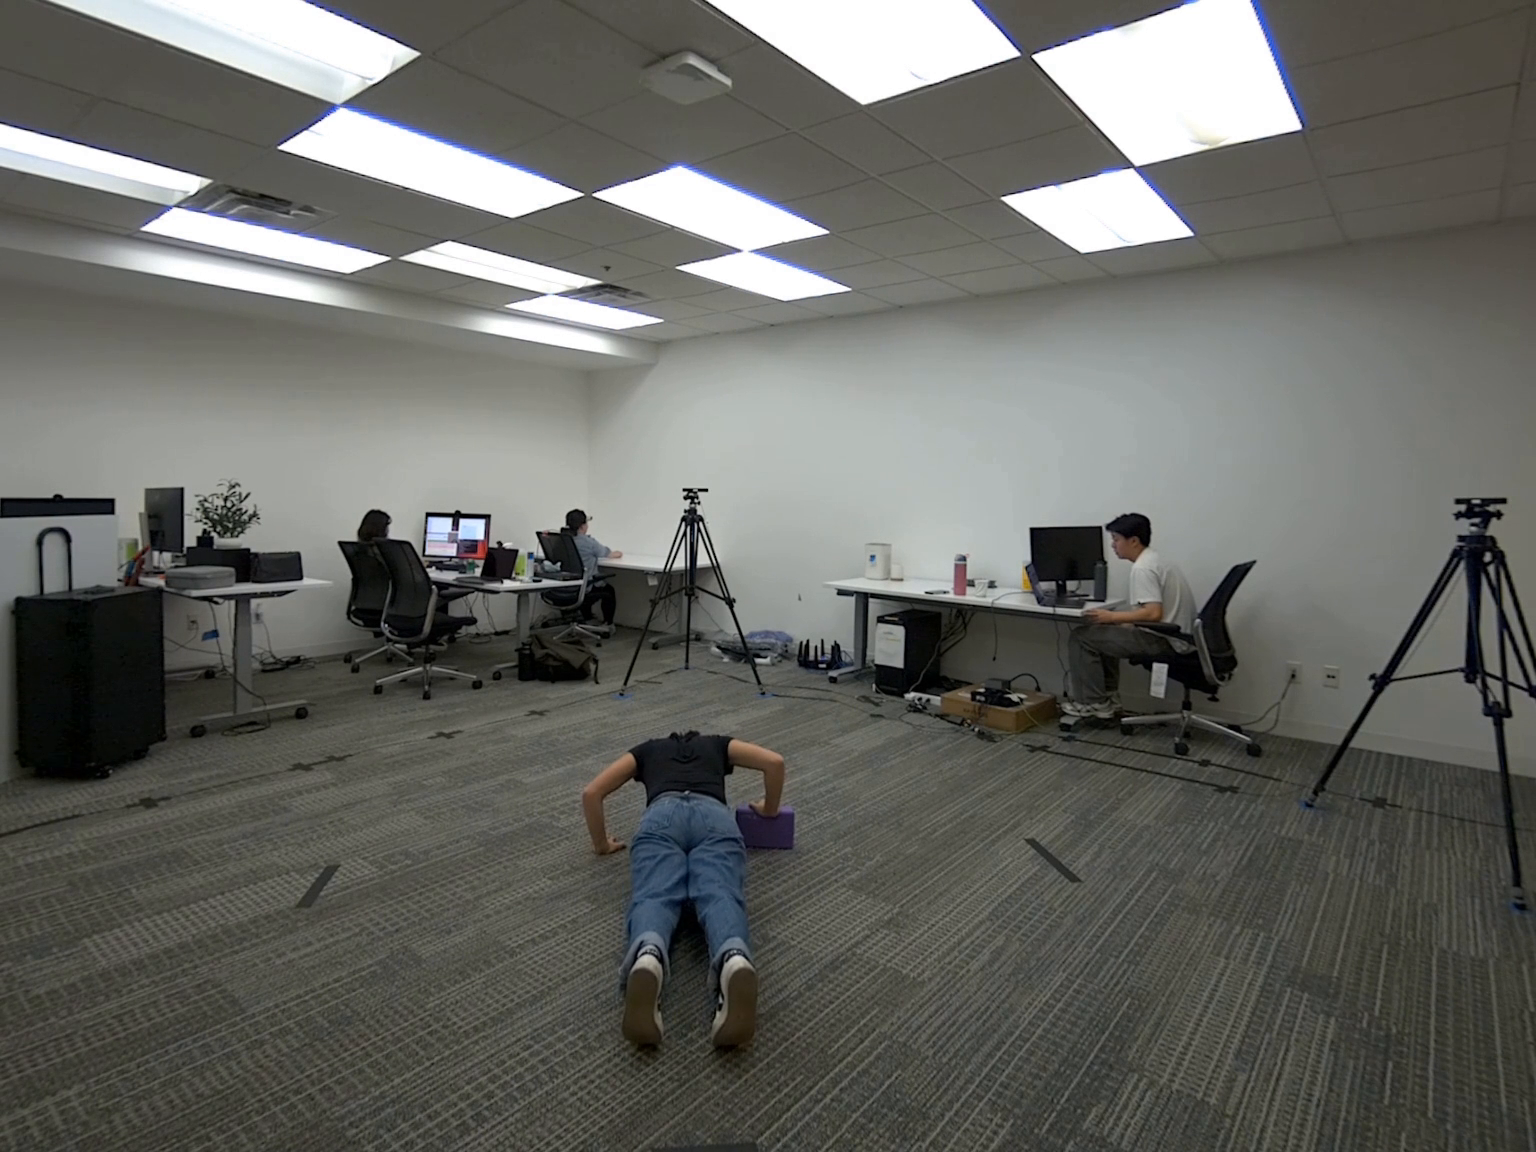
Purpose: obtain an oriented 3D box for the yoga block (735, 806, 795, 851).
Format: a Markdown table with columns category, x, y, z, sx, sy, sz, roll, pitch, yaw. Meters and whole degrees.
| category | x | y | z | sx | sy | sz | roll | pitch | yaw |
| --- | --- | --- | --- | --- | --- | --- | --- | --- | --- |
| yoga block | -0.012 | 0.978 | 3.327 | 0.229 | 0.148 | 0.077 | 1 | 5 | 0 |
